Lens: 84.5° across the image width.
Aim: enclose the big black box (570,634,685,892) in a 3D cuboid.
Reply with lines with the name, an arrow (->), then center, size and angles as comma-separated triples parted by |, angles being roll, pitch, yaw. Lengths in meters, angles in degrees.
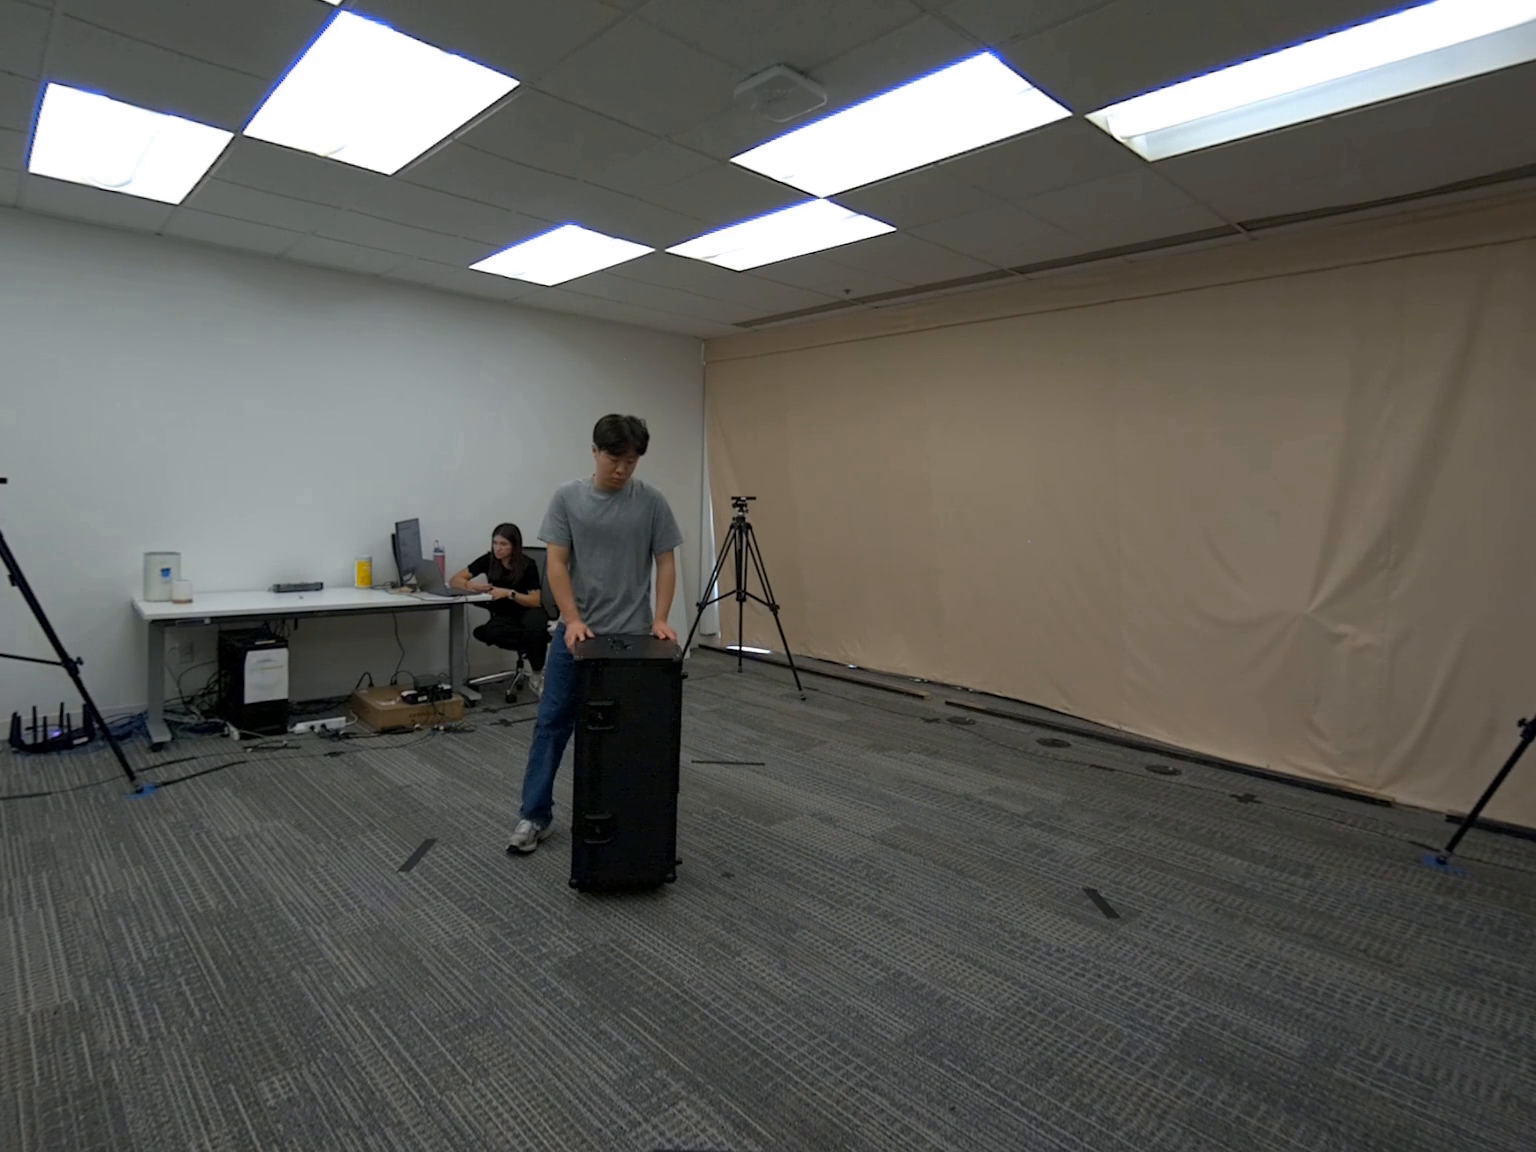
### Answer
big black box -> -0.522, 0.681, 3.070 | 0.393, 0.859, 0.527 | 2, 3, -11
